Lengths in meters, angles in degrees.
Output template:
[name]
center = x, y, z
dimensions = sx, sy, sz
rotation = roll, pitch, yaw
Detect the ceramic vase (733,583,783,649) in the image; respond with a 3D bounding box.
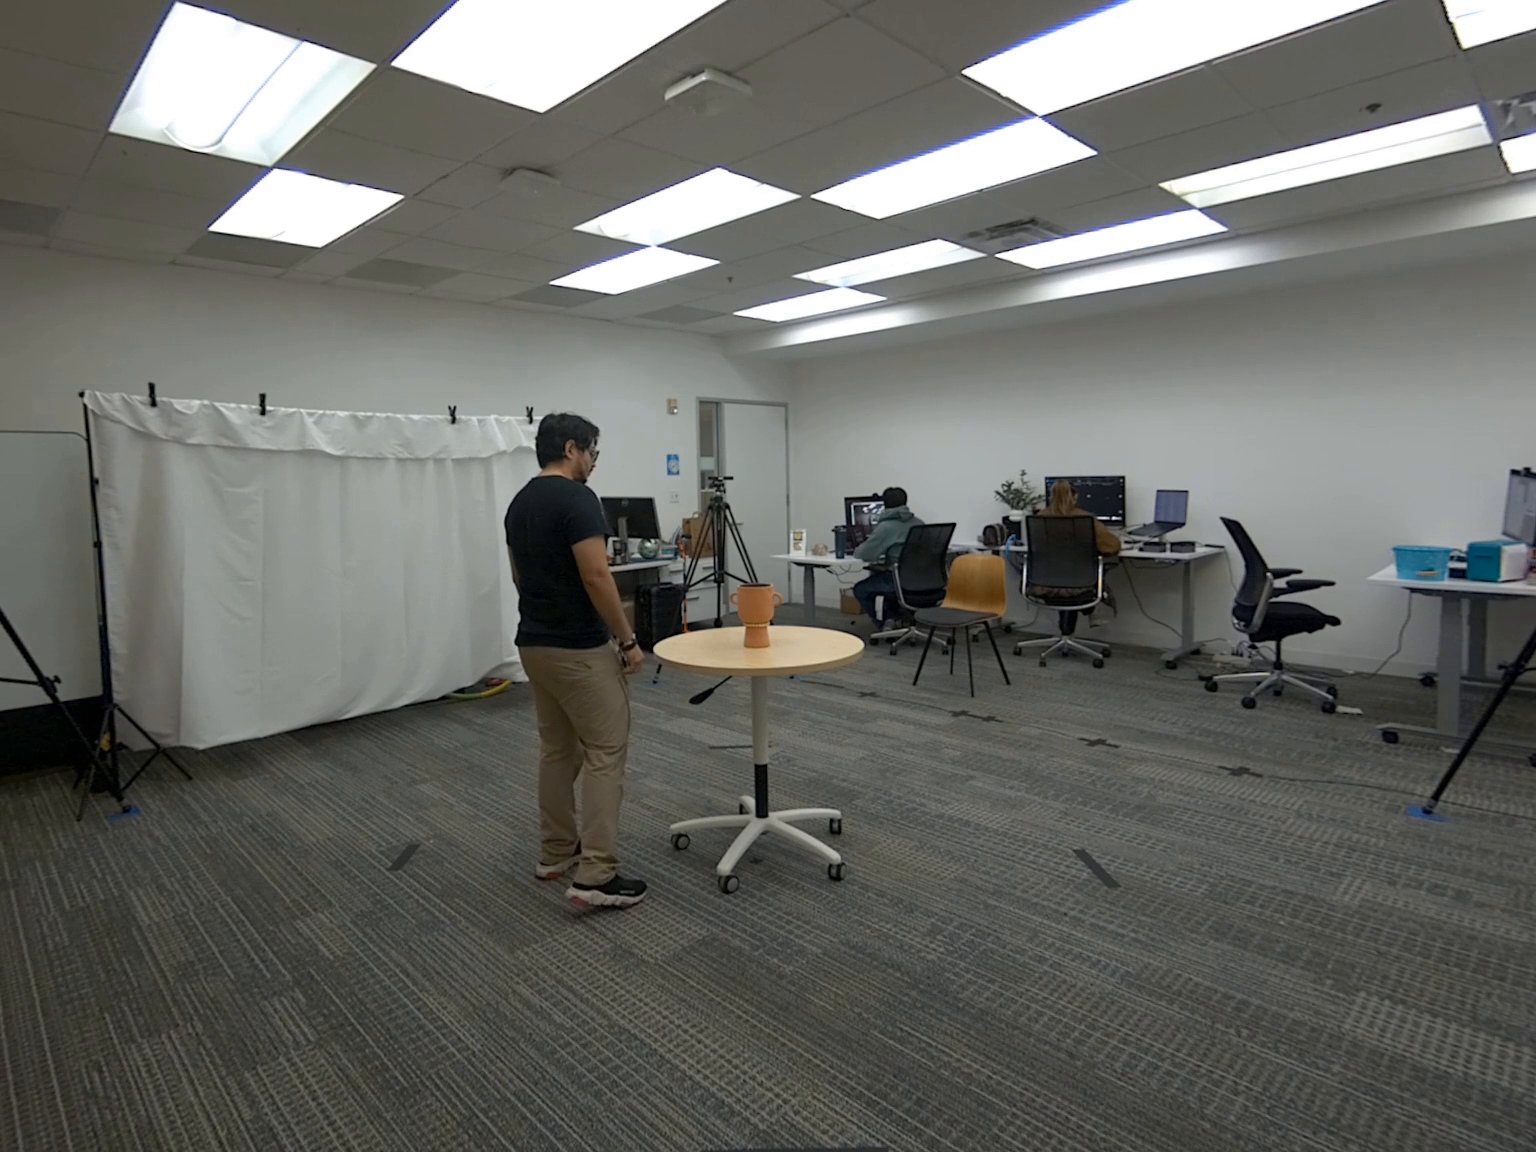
[ceramic vase]
center = -0.044, 0.142, 3.101
dimensions = 0.131, 0.219, 0.163
rotation = -4, 6, -34
